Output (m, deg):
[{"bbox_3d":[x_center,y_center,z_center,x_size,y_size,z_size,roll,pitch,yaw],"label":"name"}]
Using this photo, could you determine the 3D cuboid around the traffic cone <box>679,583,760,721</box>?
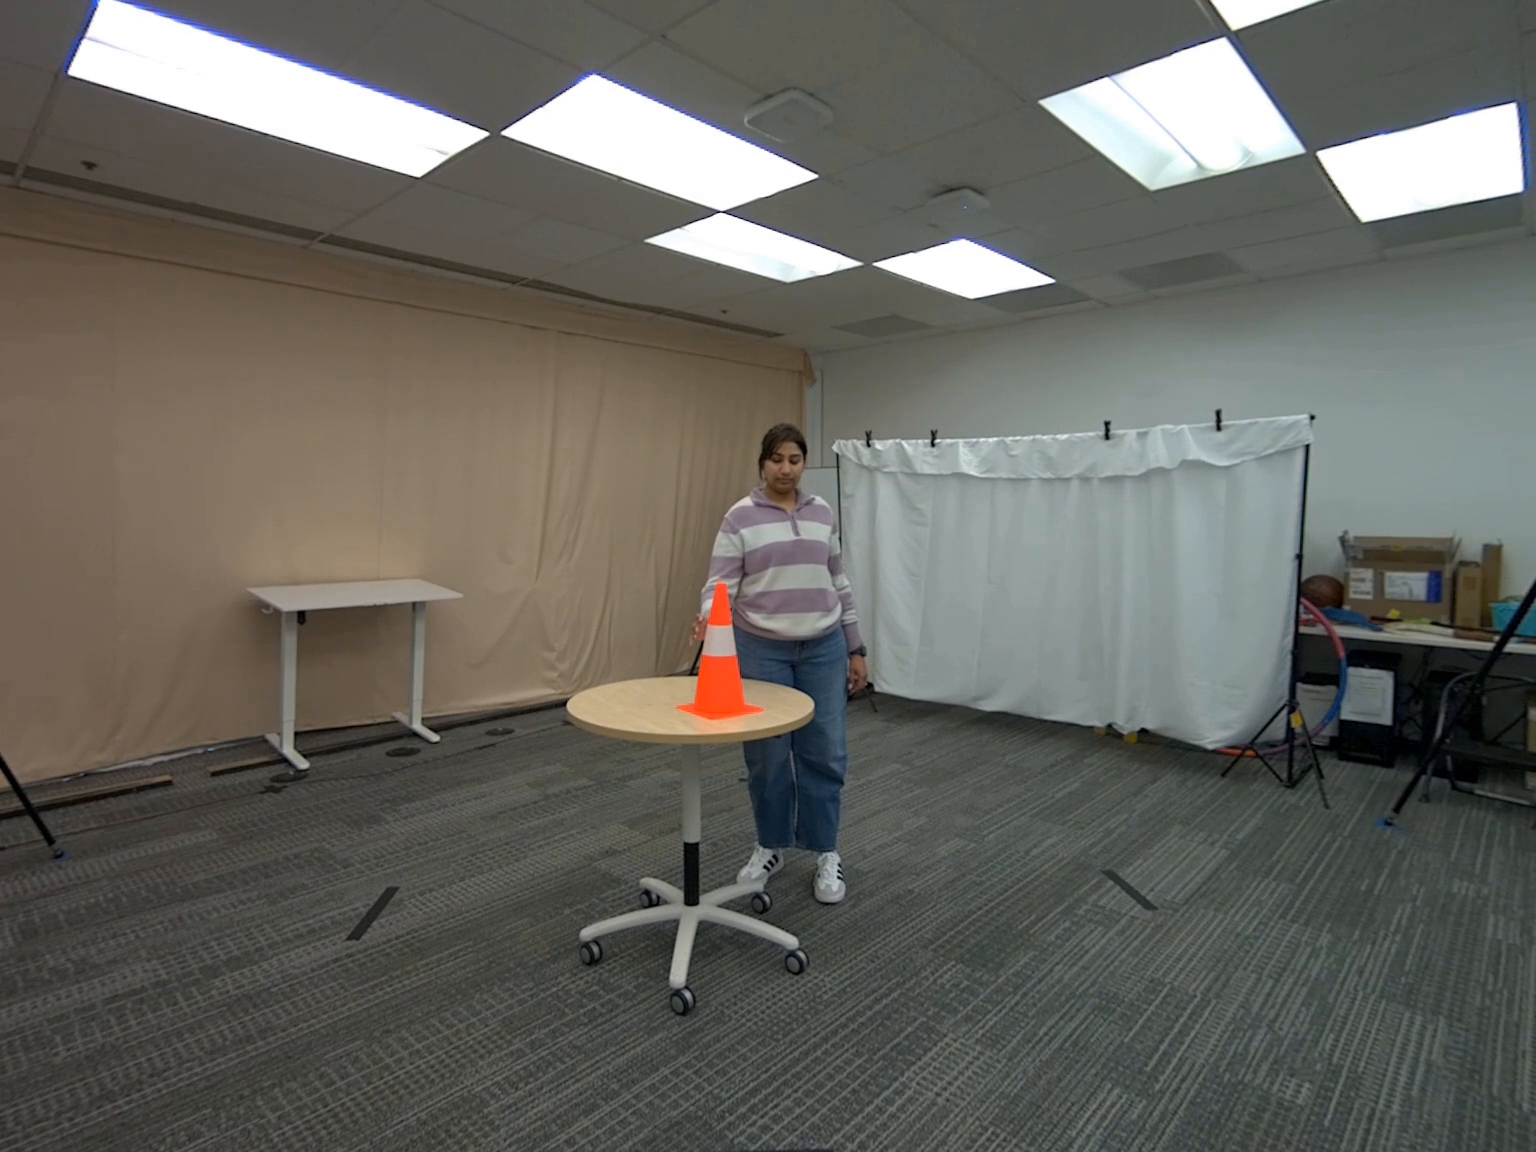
[{"bbox_3d":[-0.144,0.213,2.524,0.197,0.383,0.212,-2,2,-44],"label":"traffic cone"}]
